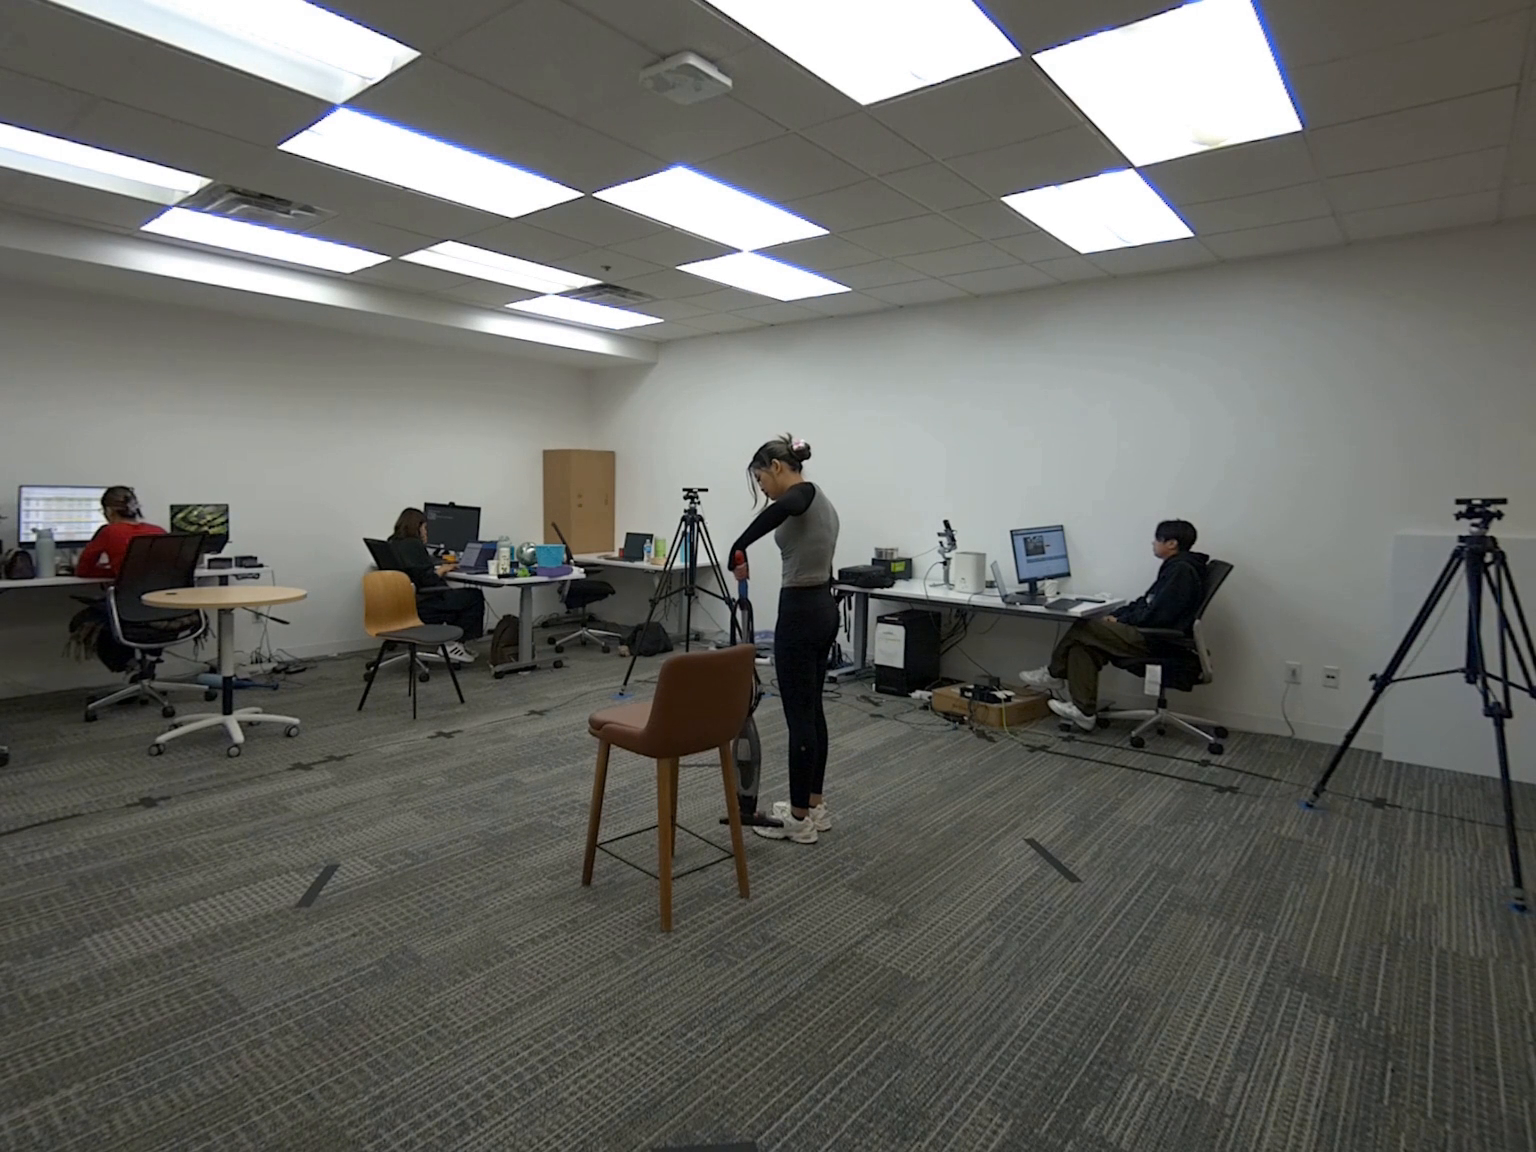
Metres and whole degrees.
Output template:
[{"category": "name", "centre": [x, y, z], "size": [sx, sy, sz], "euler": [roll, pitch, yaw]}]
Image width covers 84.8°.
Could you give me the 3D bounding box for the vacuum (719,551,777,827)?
[{"category": "vacuum", "centre": [-0.099, 0.441, 3.196], "size": [0.256, 1.040, 0.143], "euler": [0, 9, 14]}]
